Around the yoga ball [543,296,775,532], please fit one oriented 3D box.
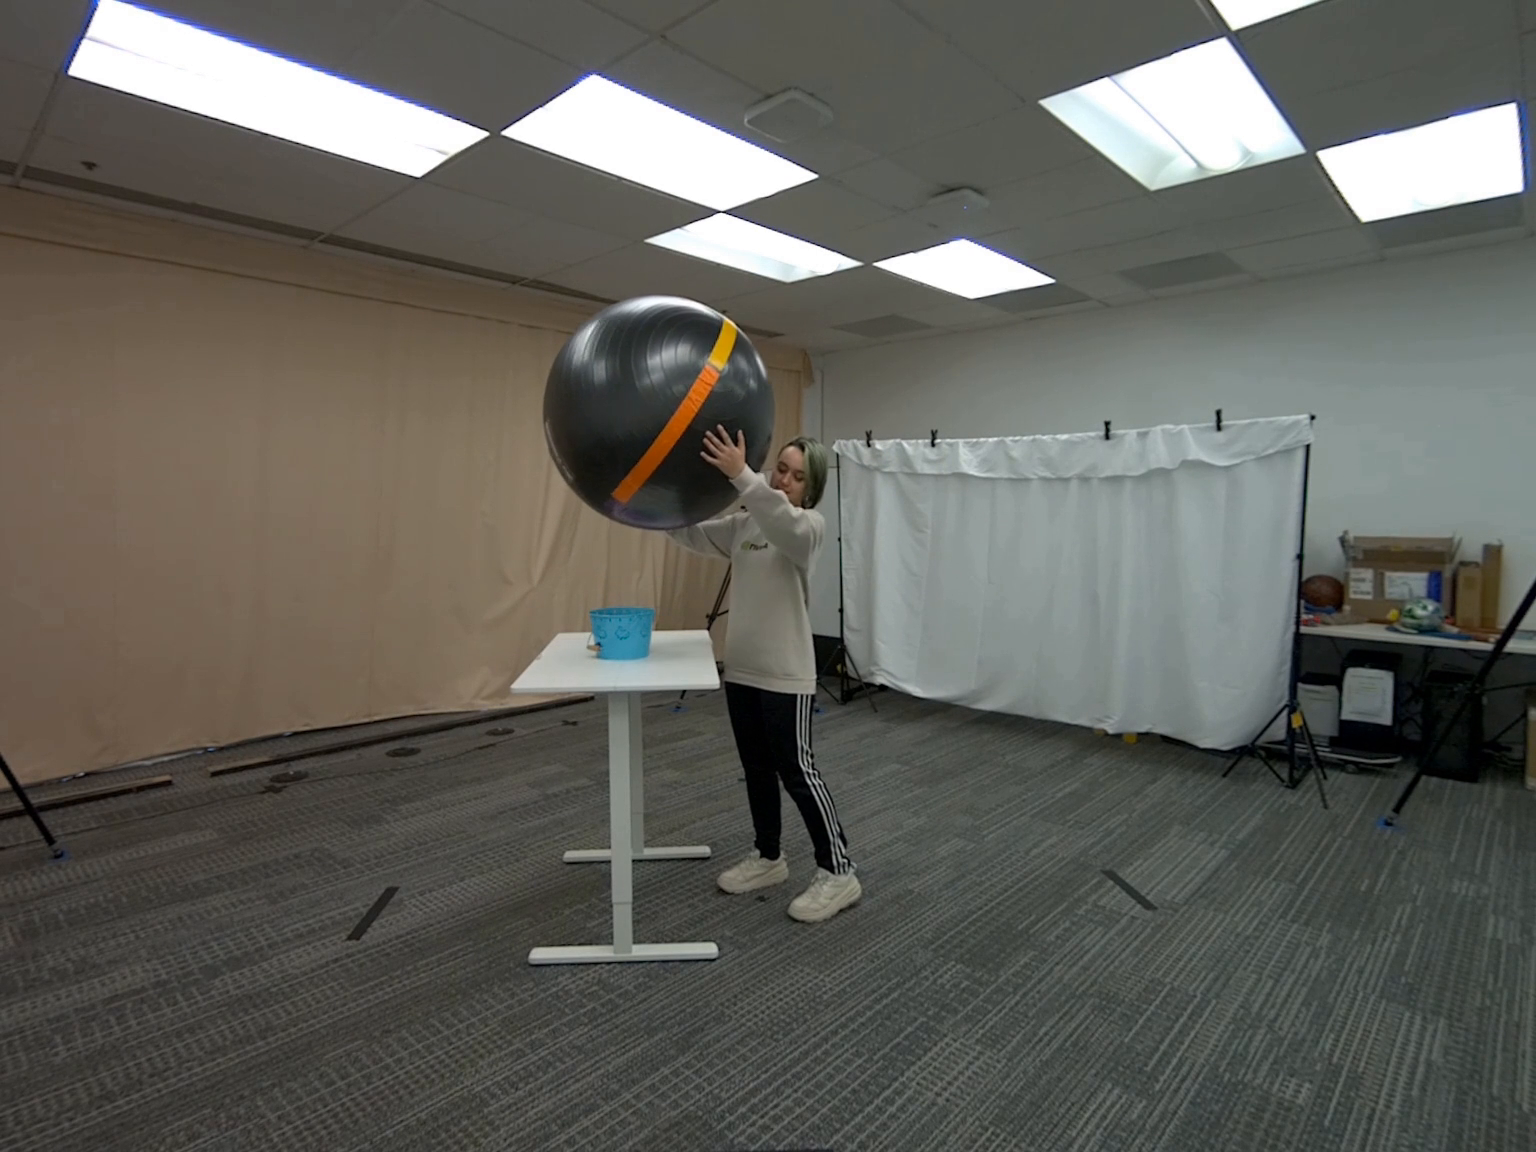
[{"bbox_3d":[-0.350,-0.523,2.771,0.757,0.756,0.760,0,4,-2],"label":"yoga ball"}]
